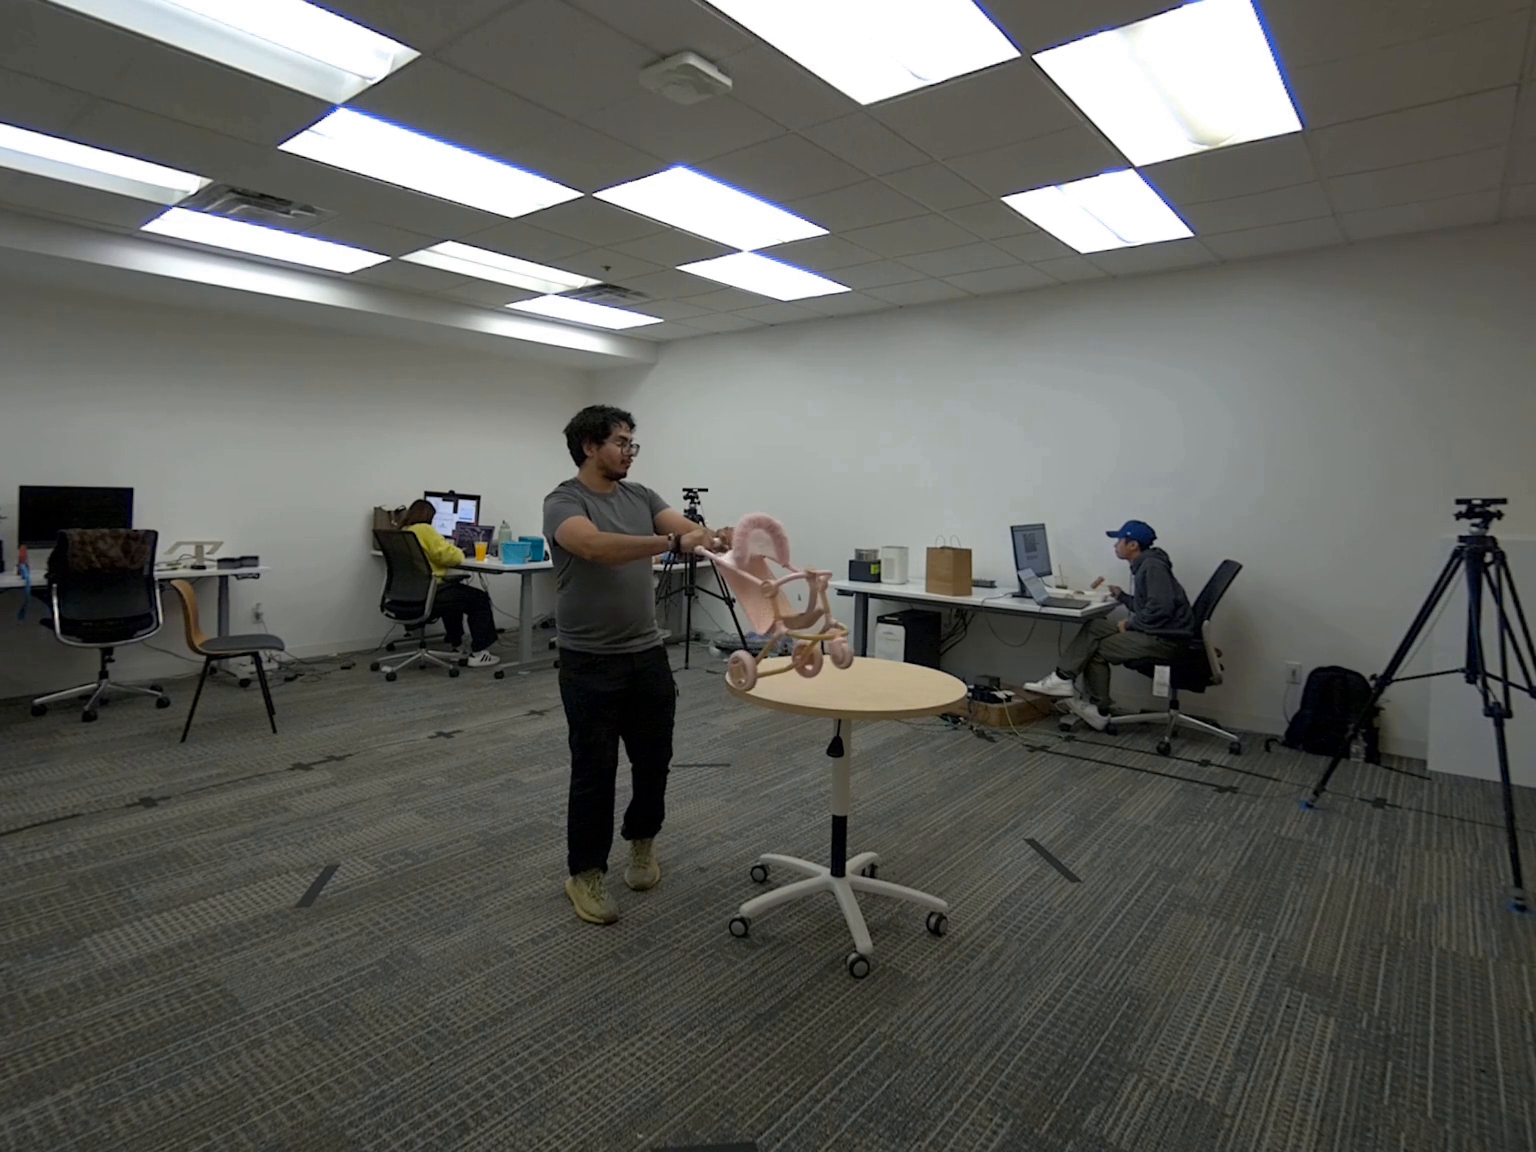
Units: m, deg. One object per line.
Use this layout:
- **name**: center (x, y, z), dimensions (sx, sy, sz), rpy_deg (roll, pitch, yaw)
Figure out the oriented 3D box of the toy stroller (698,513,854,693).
- **toy stroller**: center (0.011, 0.064, 2.331), dimensions (0.273, 0.549, 0.342), rpy_deg (-5, -25, -37)
